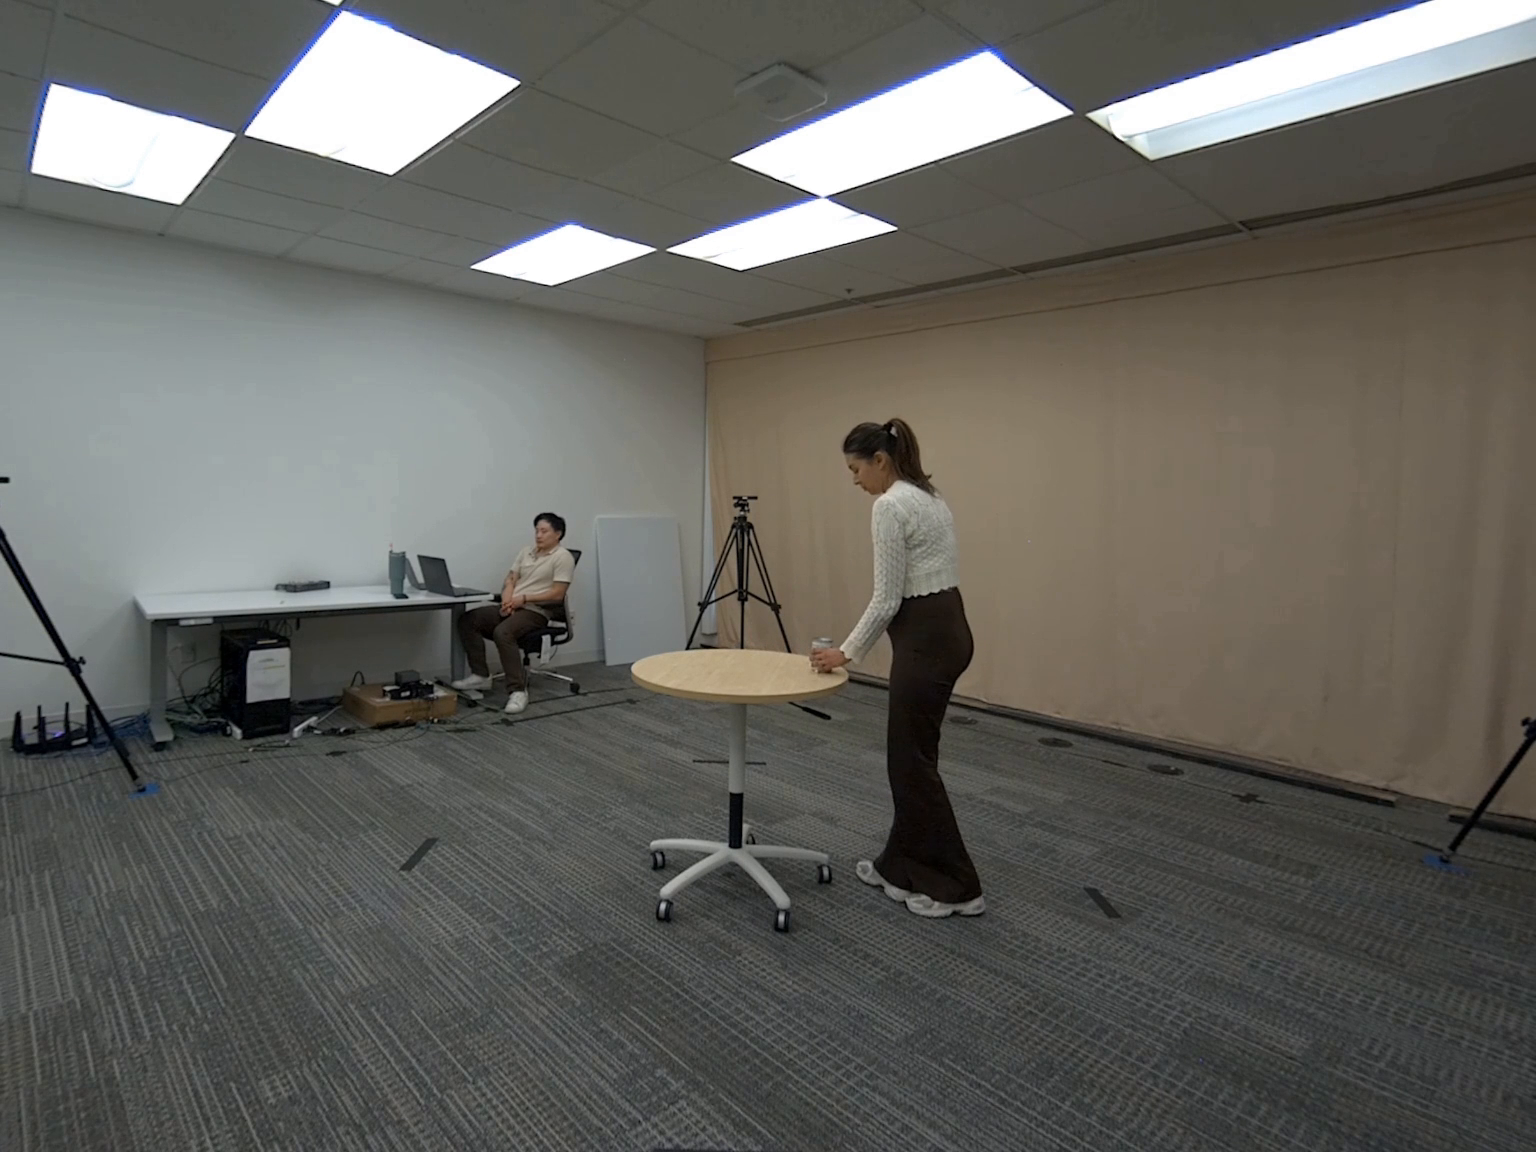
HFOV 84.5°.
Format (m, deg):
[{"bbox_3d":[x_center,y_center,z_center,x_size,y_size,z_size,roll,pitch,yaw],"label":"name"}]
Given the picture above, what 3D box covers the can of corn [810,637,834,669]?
[{"bbox_3d":[0.184,0.280,2.995,0.074,0.110,0.075,4,8,-2],"label":"can of corn"}]
